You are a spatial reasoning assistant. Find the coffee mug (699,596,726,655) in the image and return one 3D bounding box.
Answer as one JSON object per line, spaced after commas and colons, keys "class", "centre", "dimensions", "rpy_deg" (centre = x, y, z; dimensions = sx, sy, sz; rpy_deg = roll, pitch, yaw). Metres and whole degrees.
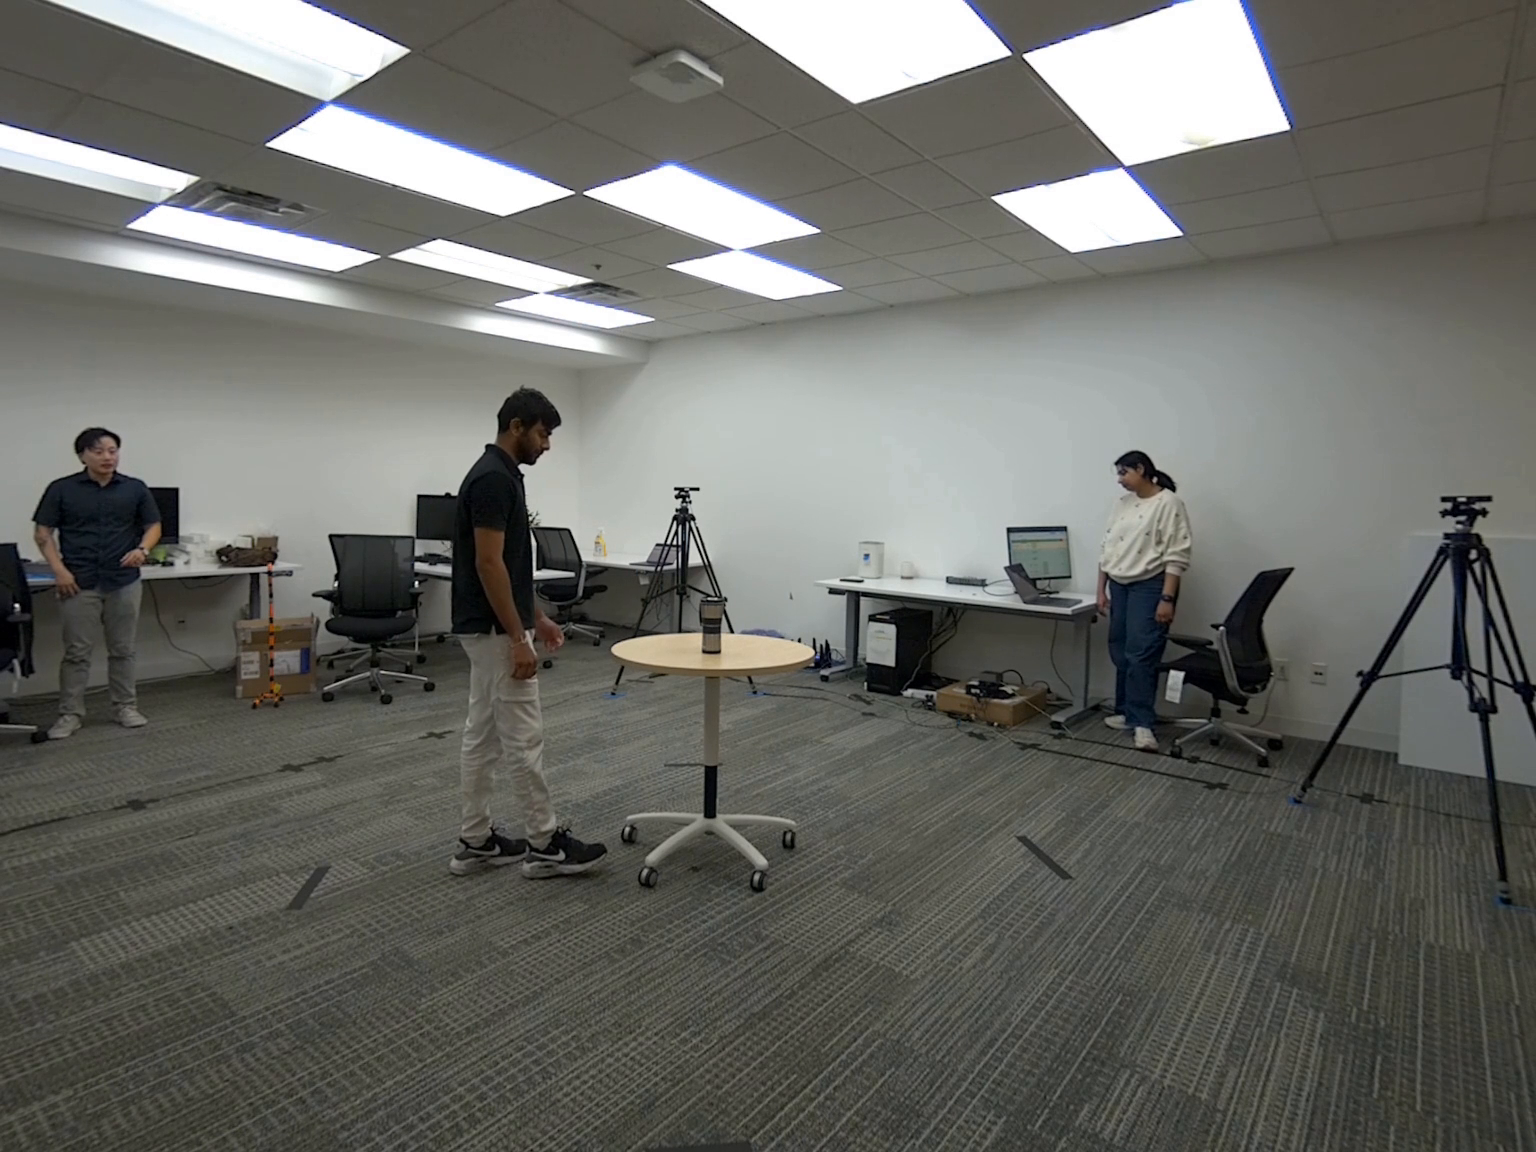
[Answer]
{"class": "coffee mug", "centre": [-0.204, 0.182, 3.145], "dimensions": [0.119, 0.203, 0.090], "rpy_deg": [-6, 0, -30]}
